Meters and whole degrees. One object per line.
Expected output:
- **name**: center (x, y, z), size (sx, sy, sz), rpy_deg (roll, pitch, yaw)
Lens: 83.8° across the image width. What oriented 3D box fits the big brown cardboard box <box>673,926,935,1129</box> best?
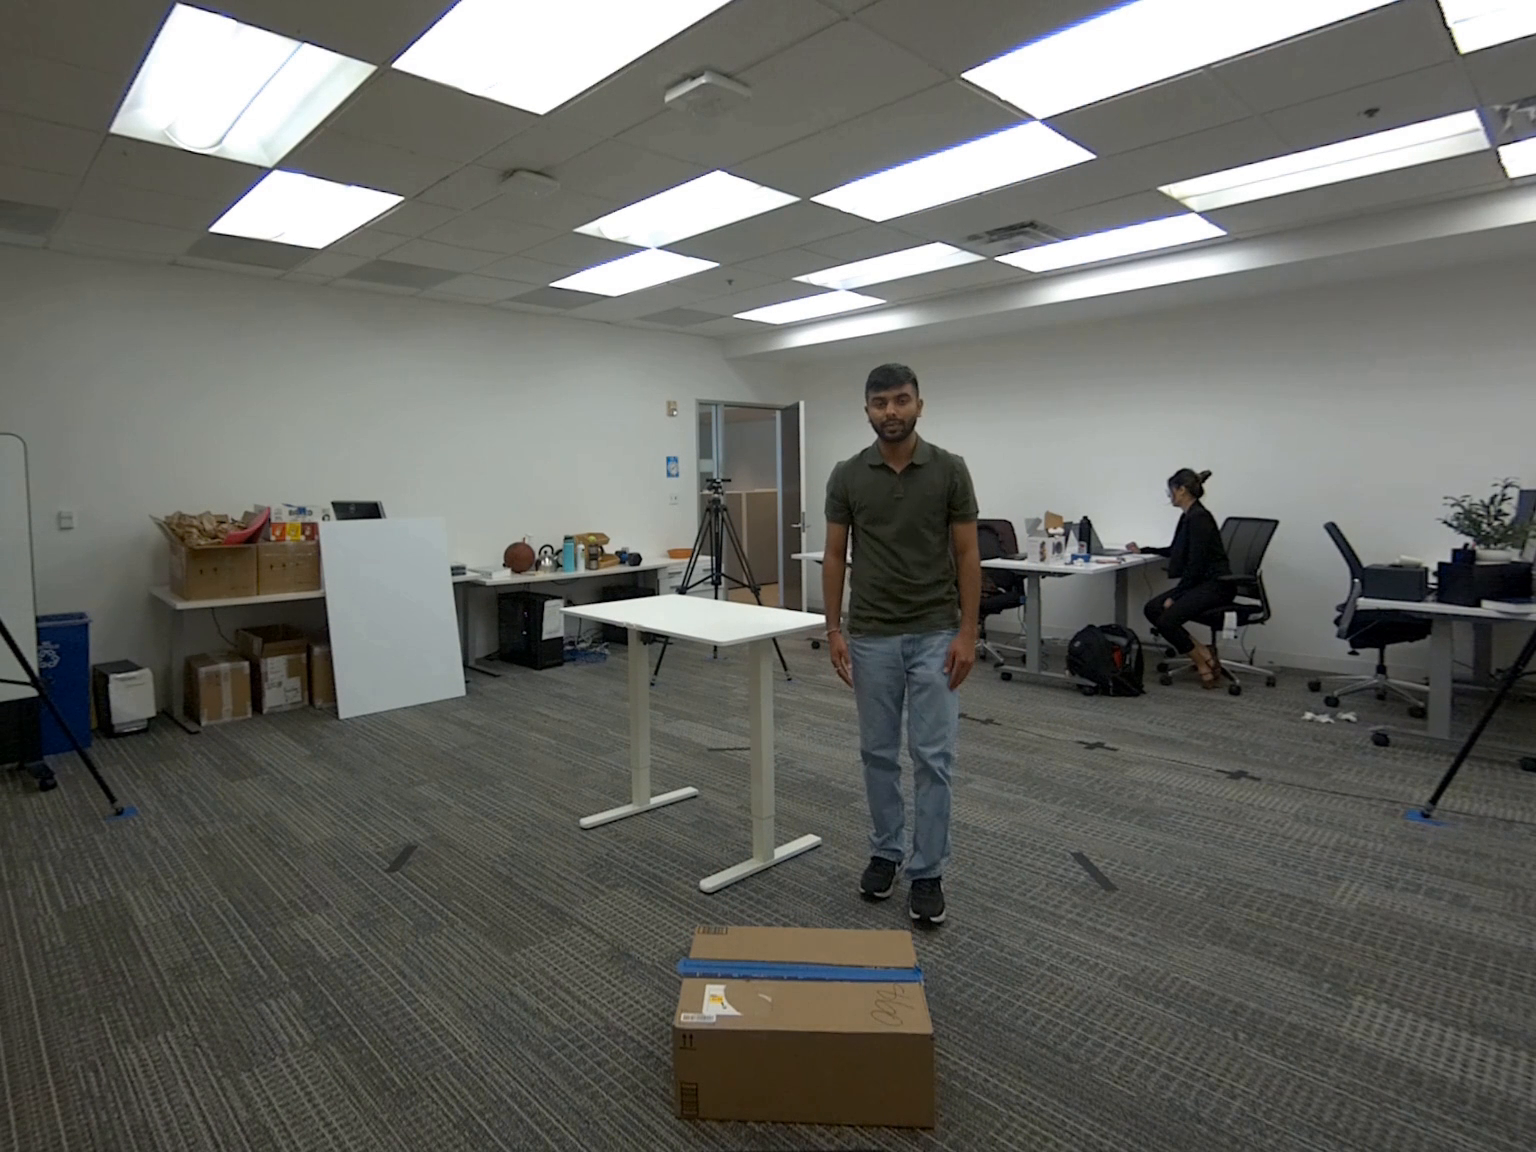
- **big brown cardboard box**: center (0.079, 1.047, 2.056), size (0.591, 0.232, 0.418), rpy_deg (0, 6, 3)
